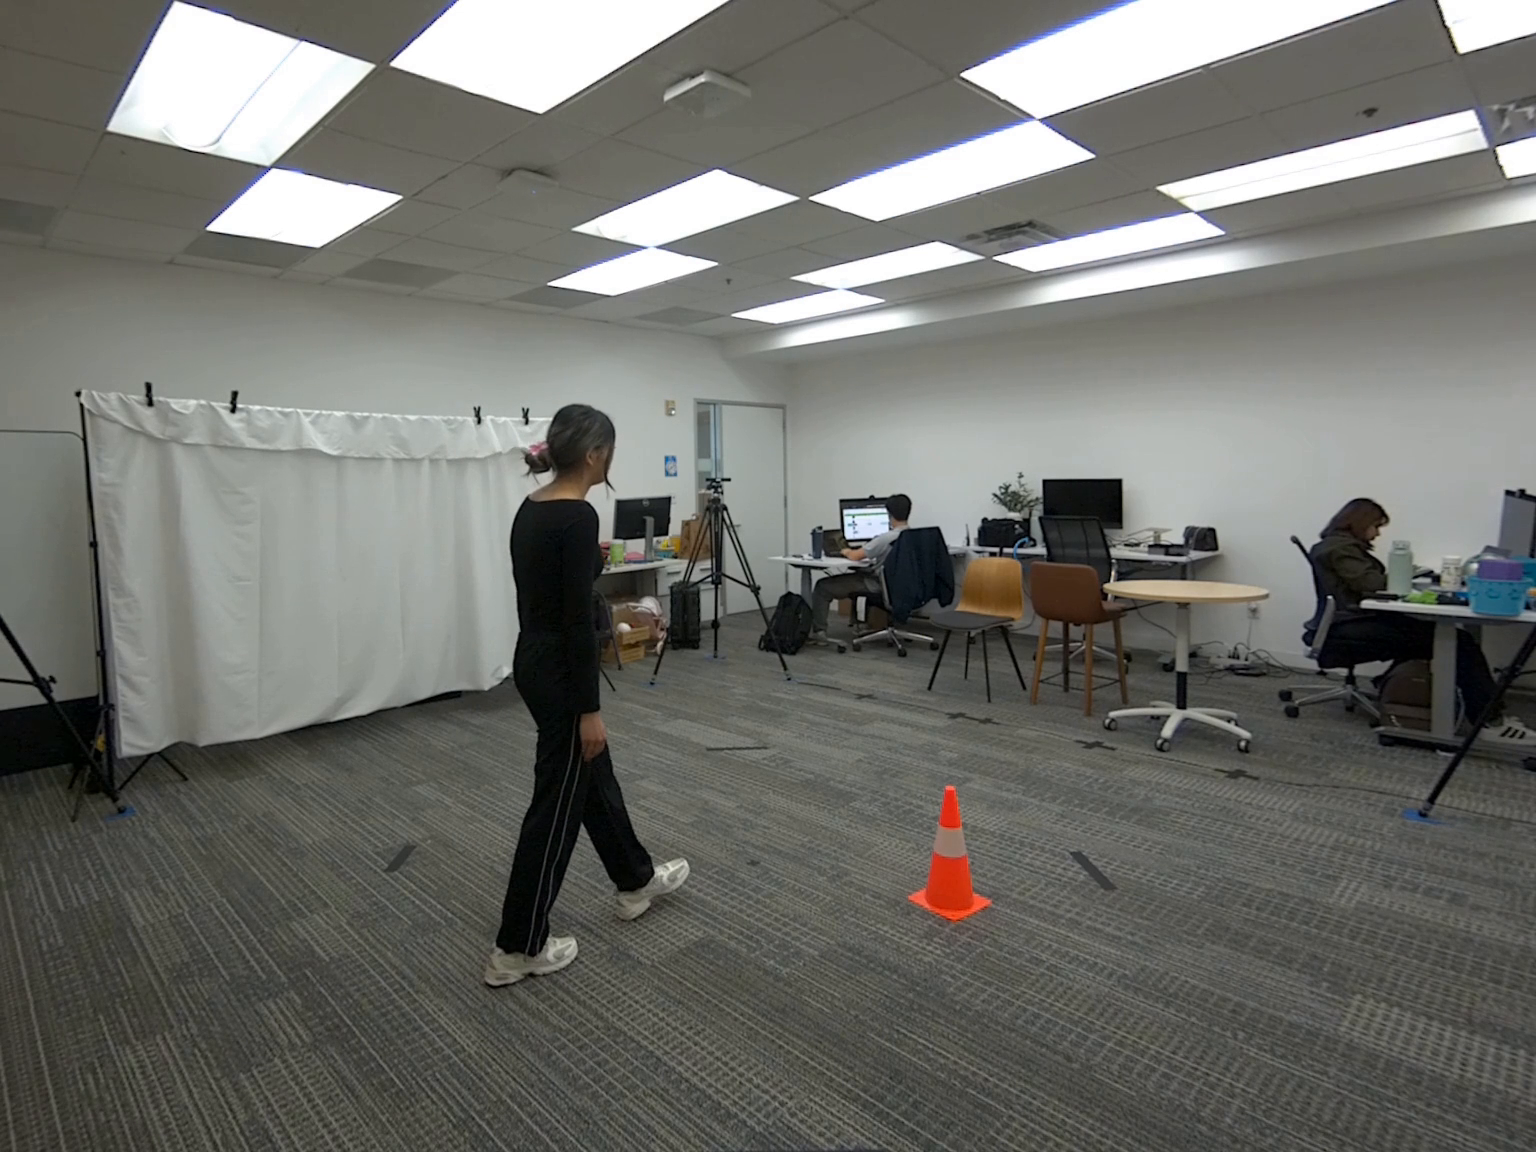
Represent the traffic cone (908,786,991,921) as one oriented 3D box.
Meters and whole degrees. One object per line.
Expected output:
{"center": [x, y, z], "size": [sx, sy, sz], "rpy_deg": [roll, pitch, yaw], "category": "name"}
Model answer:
{"center": [0.598, 0.882, 2.790], "size": [0.200, 0.382, 0.209], "rpy_deg": [-5, 6, -38], "category": "traffic cone"}
